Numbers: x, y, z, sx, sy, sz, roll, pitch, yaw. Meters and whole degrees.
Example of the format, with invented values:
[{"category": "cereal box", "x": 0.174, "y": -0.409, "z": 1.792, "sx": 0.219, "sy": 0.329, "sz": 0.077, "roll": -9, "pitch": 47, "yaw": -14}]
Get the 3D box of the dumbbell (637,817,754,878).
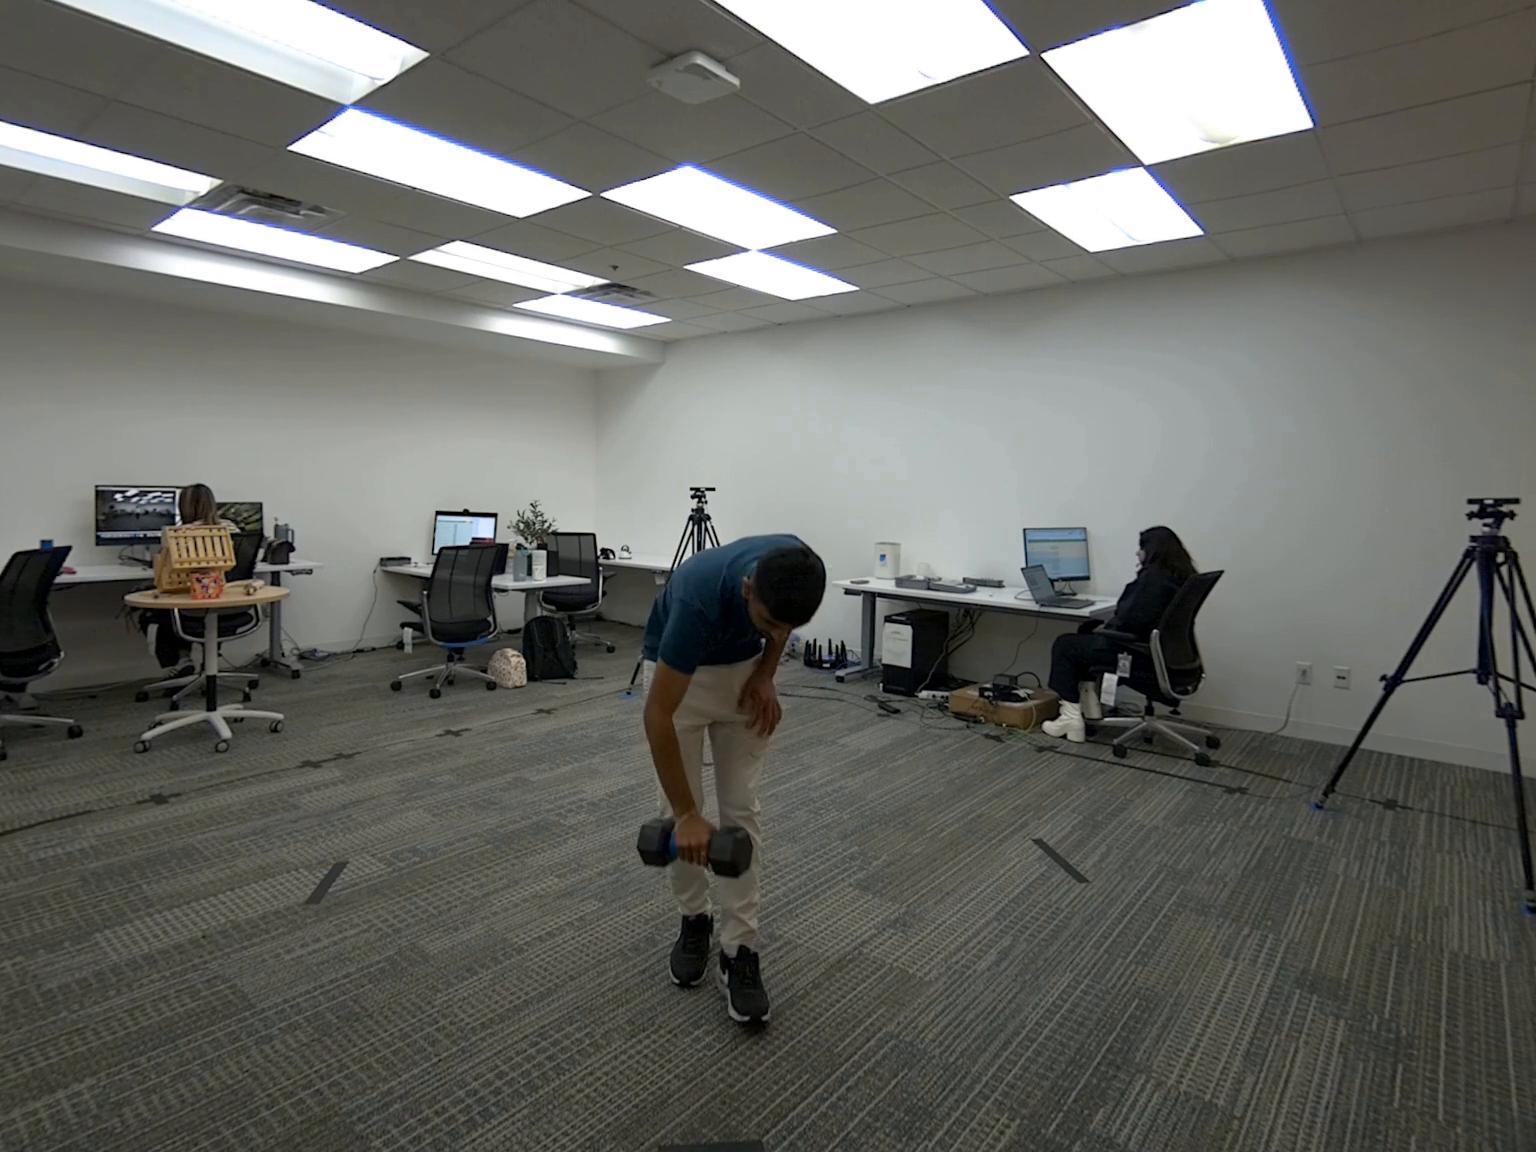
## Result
[{"category": "dumbbell", "x": -0.201, "y": 0.685, "z": 2.175, "sx": 0.301, "sy": 0.109, "sz": 0.120, "roll": -3, "pitch": -1, "yaw": 27}]
